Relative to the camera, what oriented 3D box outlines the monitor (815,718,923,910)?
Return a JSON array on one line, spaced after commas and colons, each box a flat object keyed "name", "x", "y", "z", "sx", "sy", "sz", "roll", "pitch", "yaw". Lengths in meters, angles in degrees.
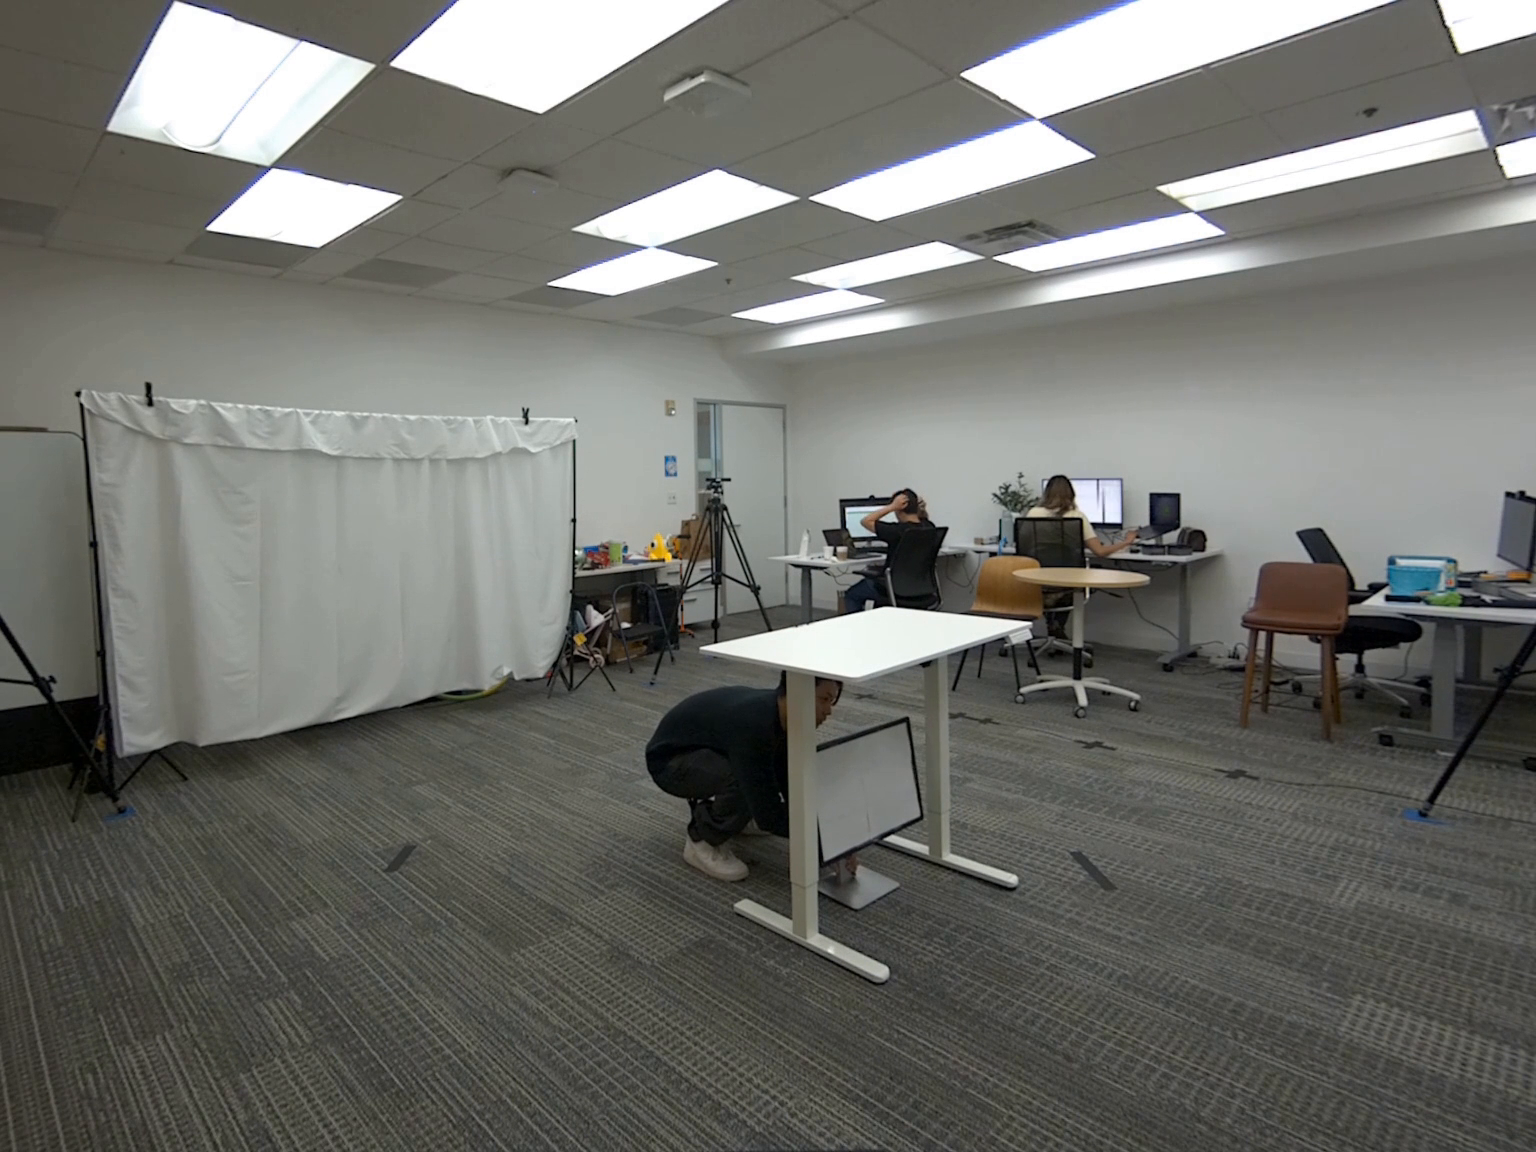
[{"name": "monitor", "x": 0.296, "y": 0.781, "z": 2.877, "sx": 0.516, "sy": 0.512, "sz": 0.180, "roll": -4, "pitch": 11, "yaw": -42}]
